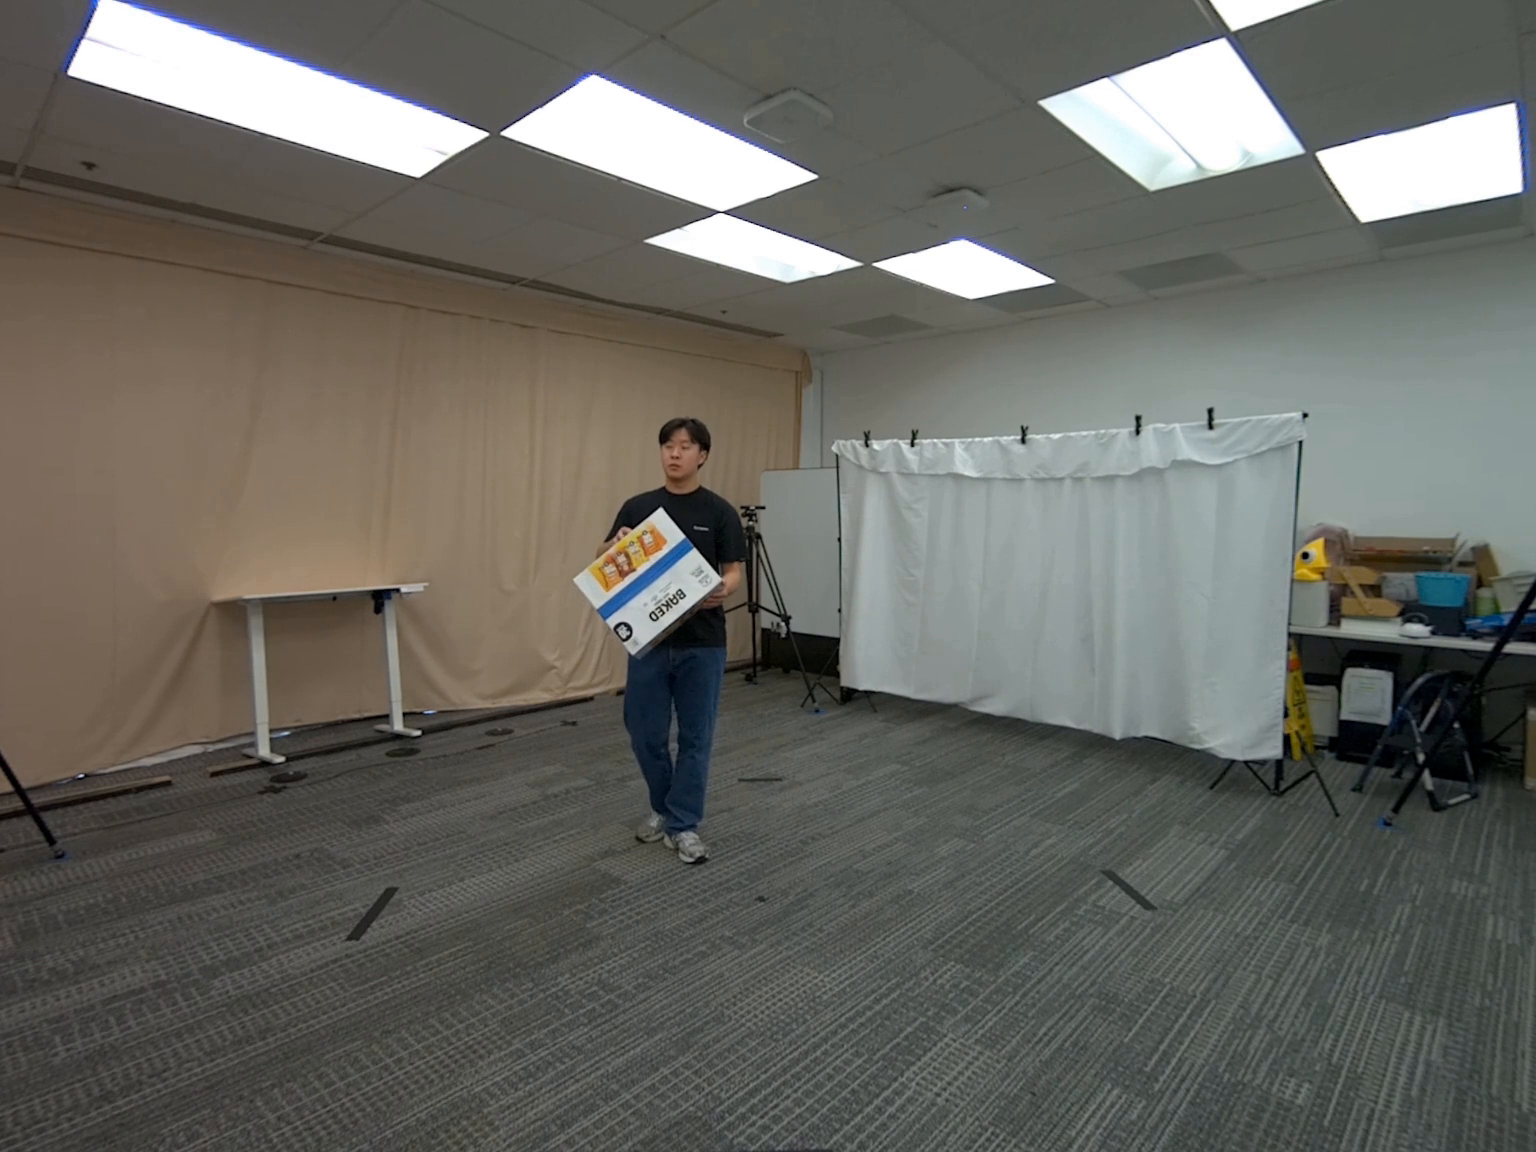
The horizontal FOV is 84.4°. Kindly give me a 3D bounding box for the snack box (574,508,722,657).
[{"bbox_3d":[-0.414,0.031,2.999,0.404,0.345,0.203,-40,-11,-5],"label":"snack box"}]
